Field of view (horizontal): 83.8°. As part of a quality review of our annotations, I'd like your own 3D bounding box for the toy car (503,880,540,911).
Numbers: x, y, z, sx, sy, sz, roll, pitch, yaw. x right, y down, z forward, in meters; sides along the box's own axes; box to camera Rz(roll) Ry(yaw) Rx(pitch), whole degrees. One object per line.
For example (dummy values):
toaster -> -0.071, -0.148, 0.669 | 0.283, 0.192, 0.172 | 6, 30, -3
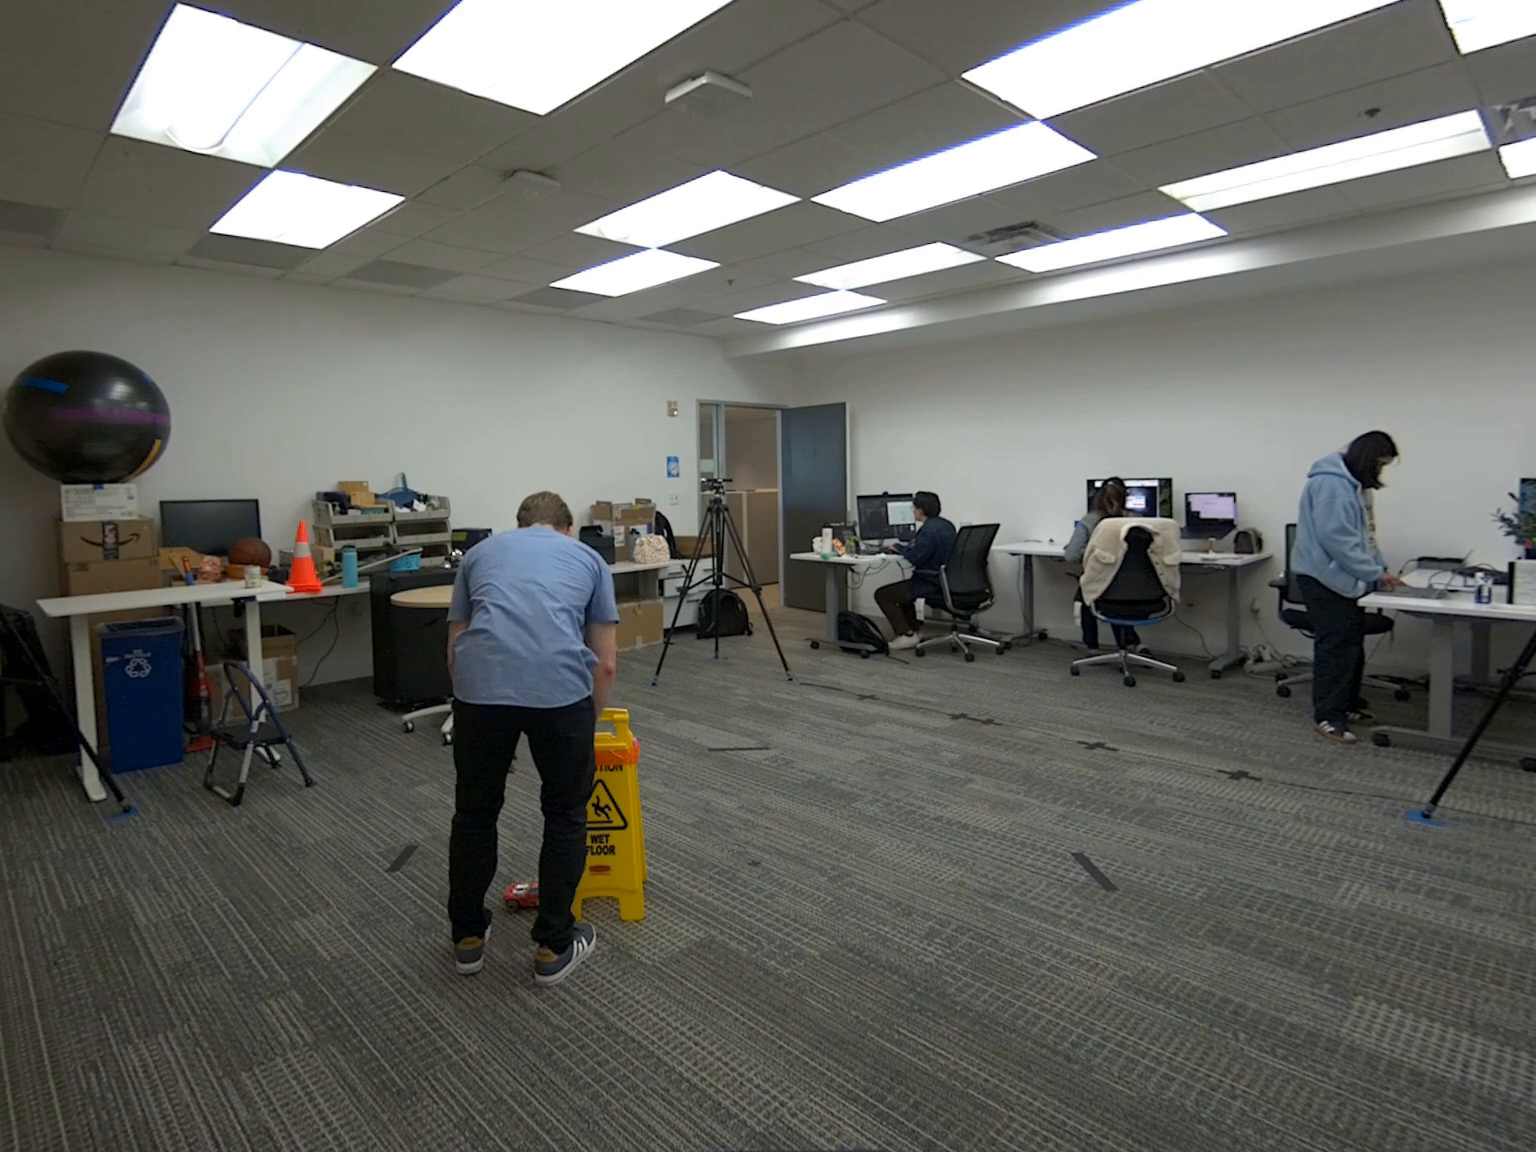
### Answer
toy car -> -0.748, 1.061, 2.838 | 0.255, 0.083, 0.130 | -11, 4, 3
